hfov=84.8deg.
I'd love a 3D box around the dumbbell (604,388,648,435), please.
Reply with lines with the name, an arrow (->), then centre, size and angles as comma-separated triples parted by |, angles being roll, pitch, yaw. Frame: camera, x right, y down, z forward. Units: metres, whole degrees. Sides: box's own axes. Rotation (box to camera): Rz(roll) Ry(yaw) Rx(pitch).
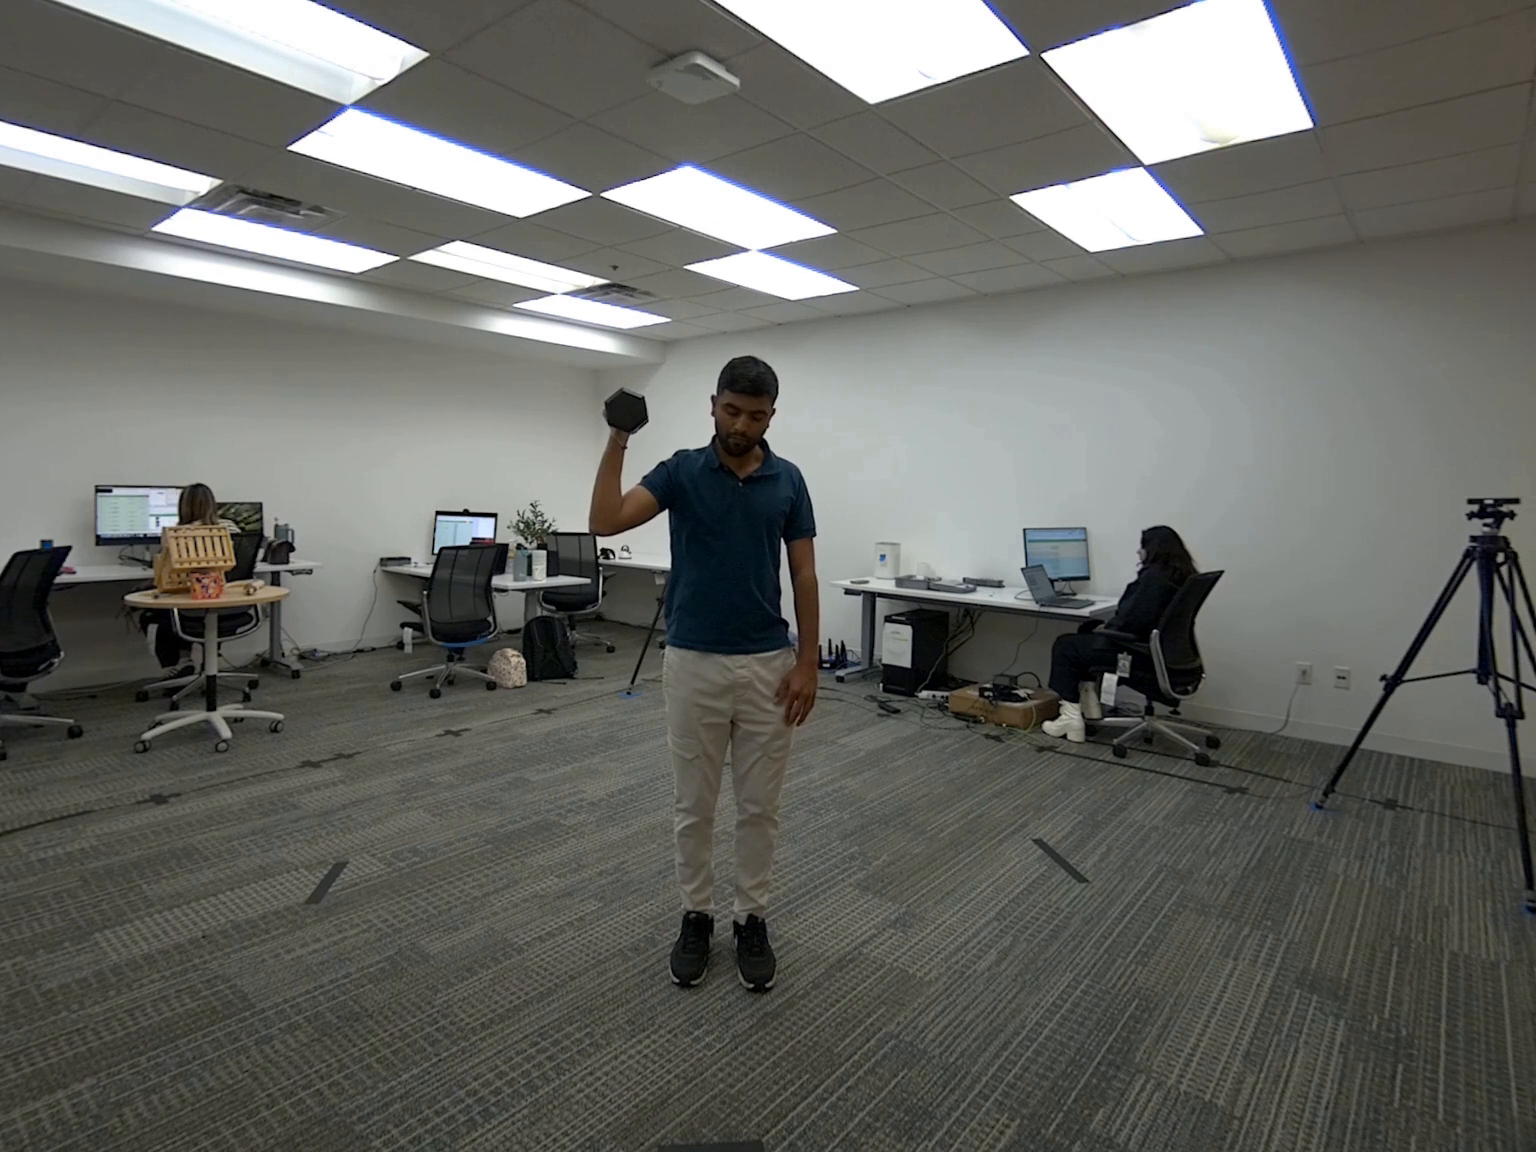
dumbbell -> -0.401, -0.463, 2.364 | 0.121, 0.108, 0.298 | 20, 6, -11
